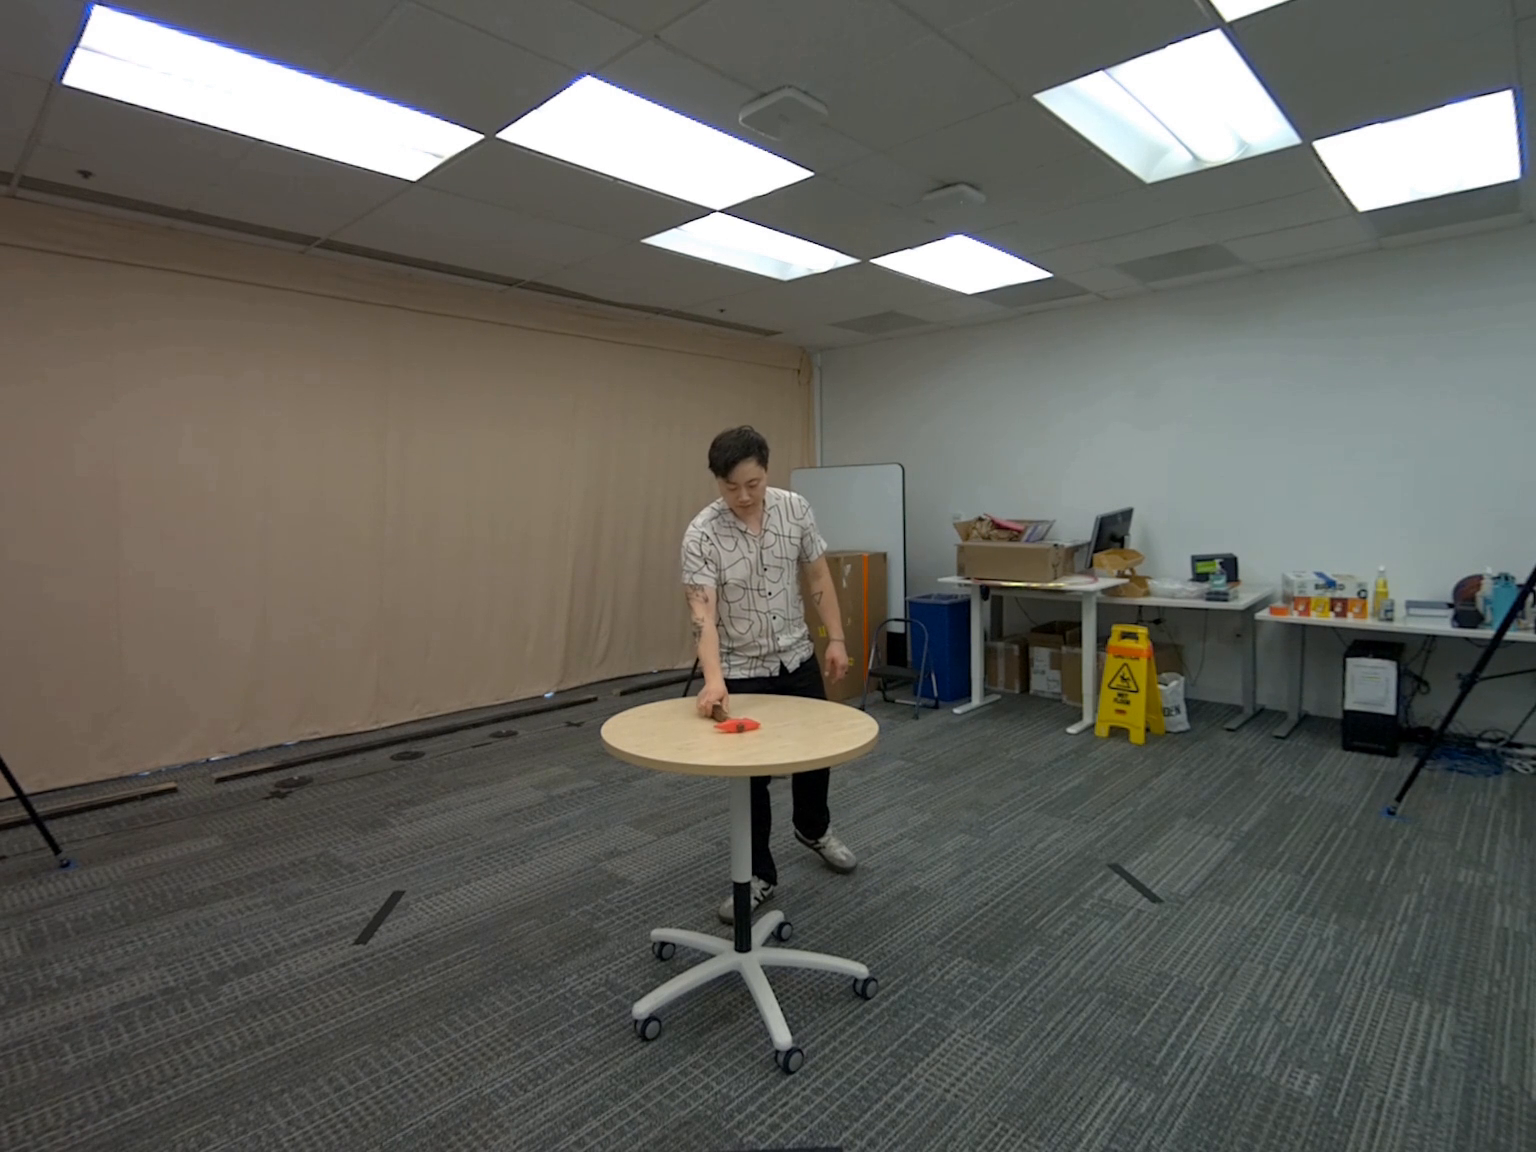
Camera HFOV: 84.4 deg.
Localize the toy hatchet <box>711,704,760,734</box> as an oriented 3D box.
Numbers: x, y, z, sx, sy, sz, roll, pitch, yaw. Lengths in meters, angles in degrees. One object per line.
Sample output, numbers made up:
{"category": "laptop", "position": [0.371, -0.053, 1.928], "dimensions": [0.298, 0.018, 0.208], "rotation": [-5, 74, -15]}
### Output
{"category": "toy hatchet", "position": [-0.091, 0.397, 2.375], "dimensions": [0.130, 0.029, 0.272], "rotation": [0, 4, -5]}
